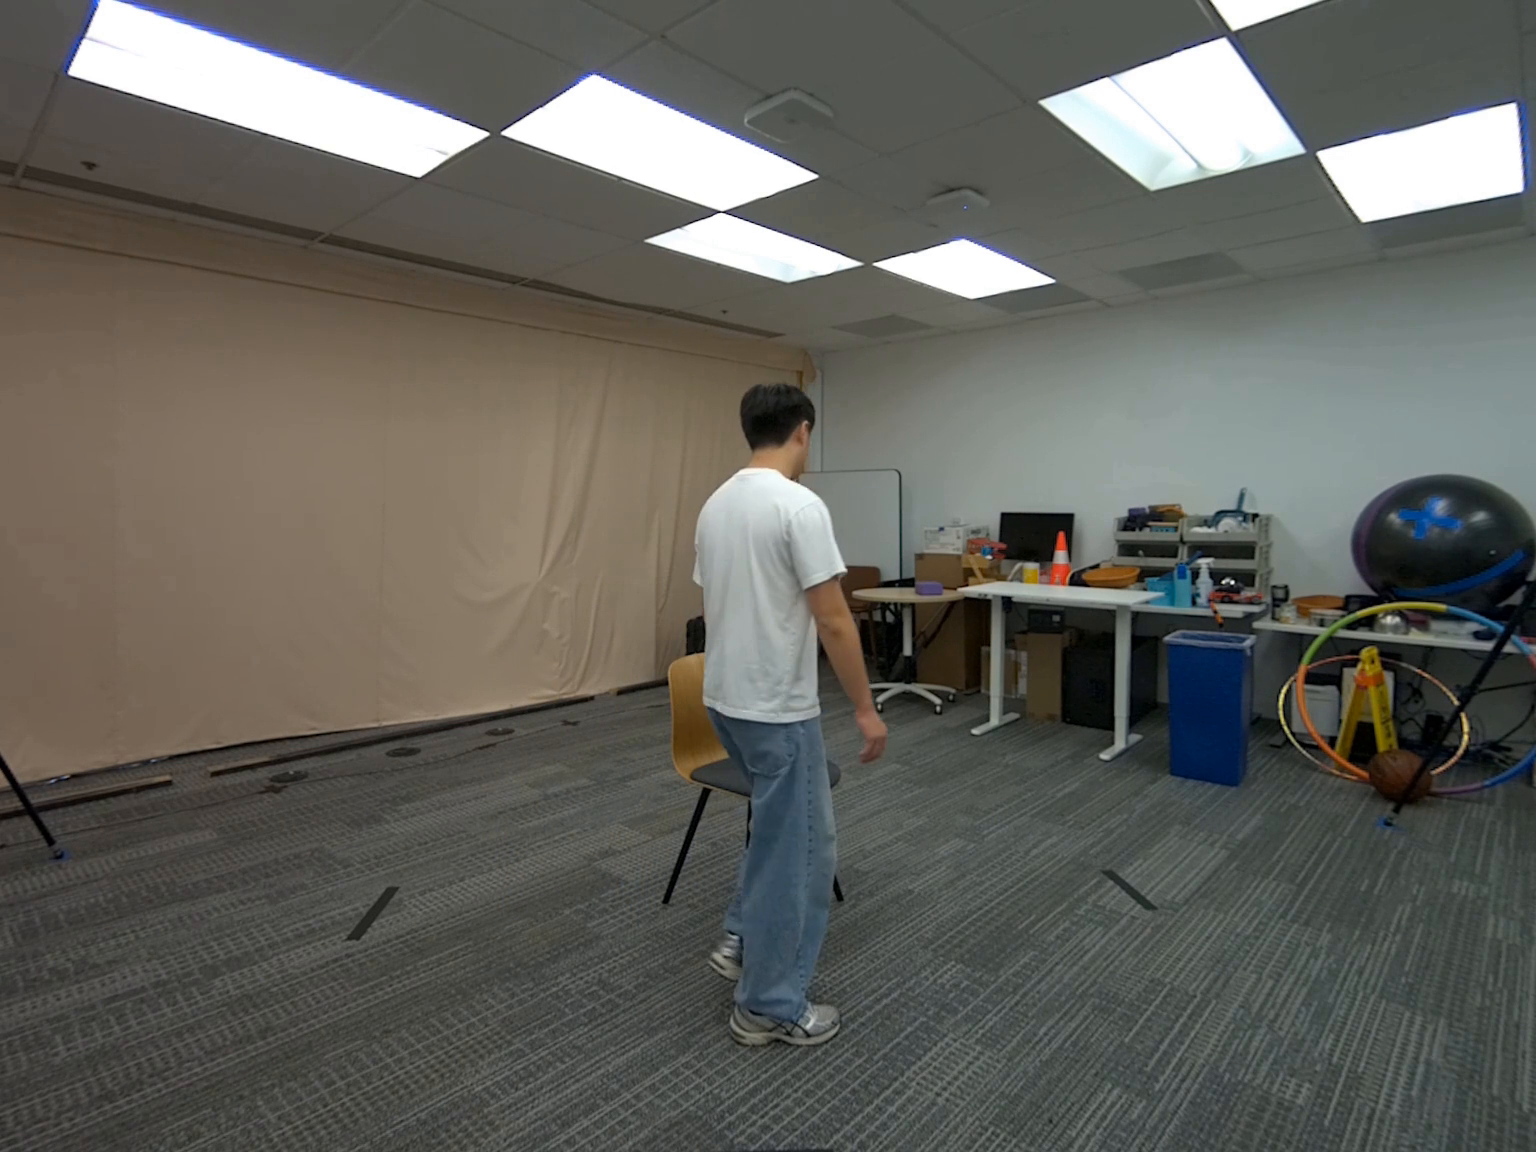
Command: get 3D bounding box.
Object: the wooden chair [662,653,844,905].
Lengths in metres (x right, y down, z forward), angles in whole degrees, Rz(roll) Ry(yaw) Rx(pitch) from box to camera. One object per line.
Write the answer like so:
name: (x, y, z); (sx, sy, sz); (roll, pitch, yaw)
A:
wooden chair: (-0.044, 0.719, 2.915); (0.539, 0.877, 0.463); (-3, 0, 42)
